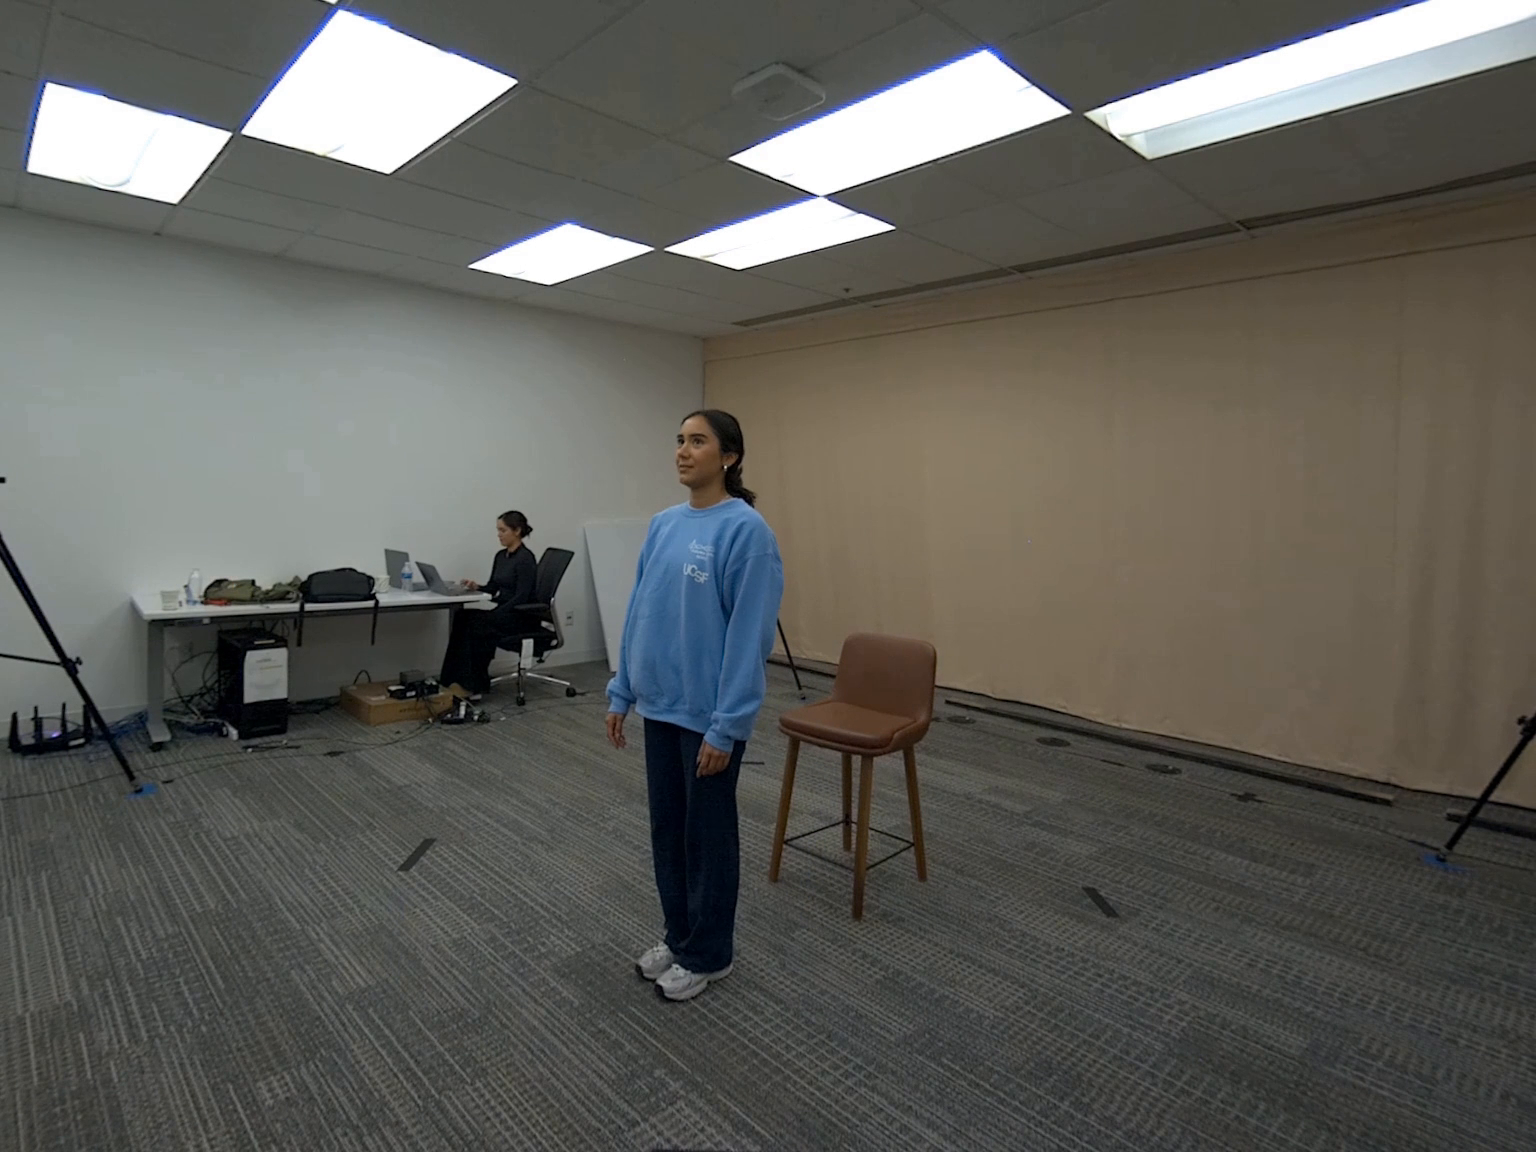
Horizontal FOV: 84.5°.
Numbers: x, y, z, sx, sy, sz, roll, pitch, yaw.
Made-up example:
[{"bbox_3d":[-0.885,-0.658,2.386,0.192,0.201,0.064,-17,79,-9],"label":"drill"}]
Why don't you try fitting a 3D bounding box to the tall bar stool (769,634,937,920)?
[{"bbox_3d":[0.315,0.680,3.057,0.468,0.889,0.456,5,2,44],"label":"tall bar stool"}]
